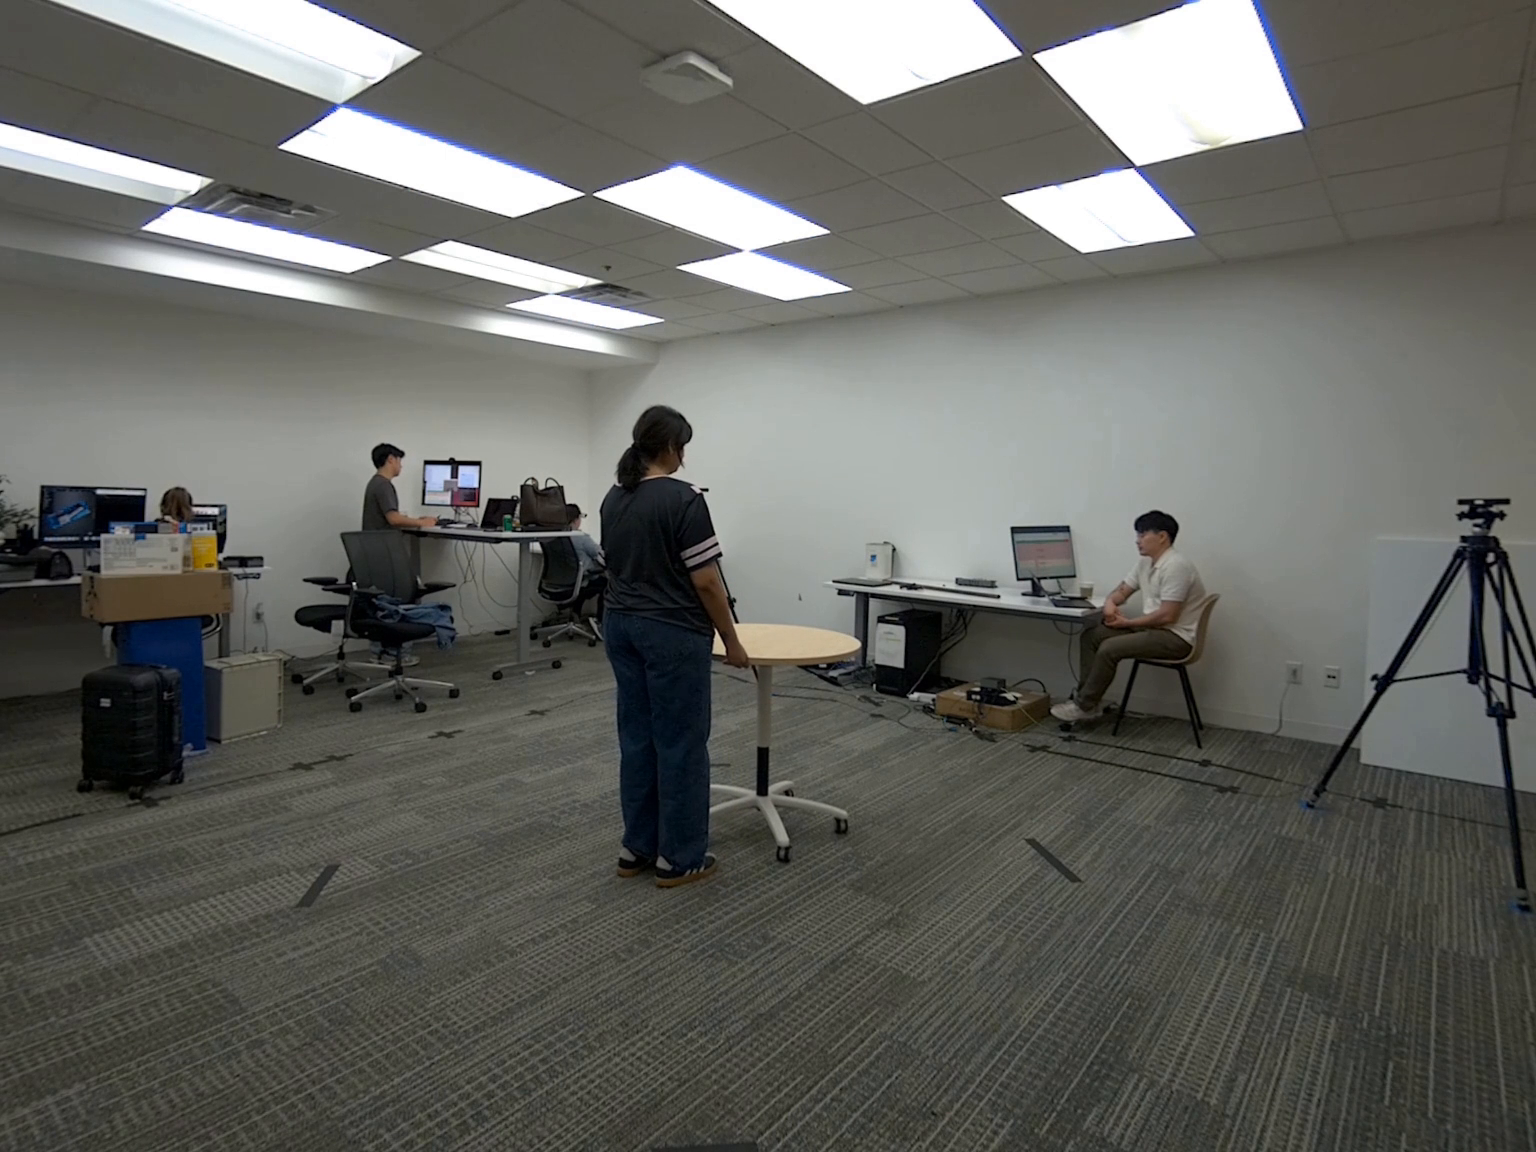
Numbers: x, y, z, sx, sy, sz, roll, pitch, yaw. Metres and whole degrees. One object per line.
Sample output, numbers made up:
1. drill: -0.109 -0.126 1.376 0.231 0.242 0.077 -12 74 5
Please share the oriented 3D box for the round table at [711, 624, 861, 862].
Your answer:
1. round table: -0.043 0.642 3.484 0.784 0.784 0.789 2 4 -2
